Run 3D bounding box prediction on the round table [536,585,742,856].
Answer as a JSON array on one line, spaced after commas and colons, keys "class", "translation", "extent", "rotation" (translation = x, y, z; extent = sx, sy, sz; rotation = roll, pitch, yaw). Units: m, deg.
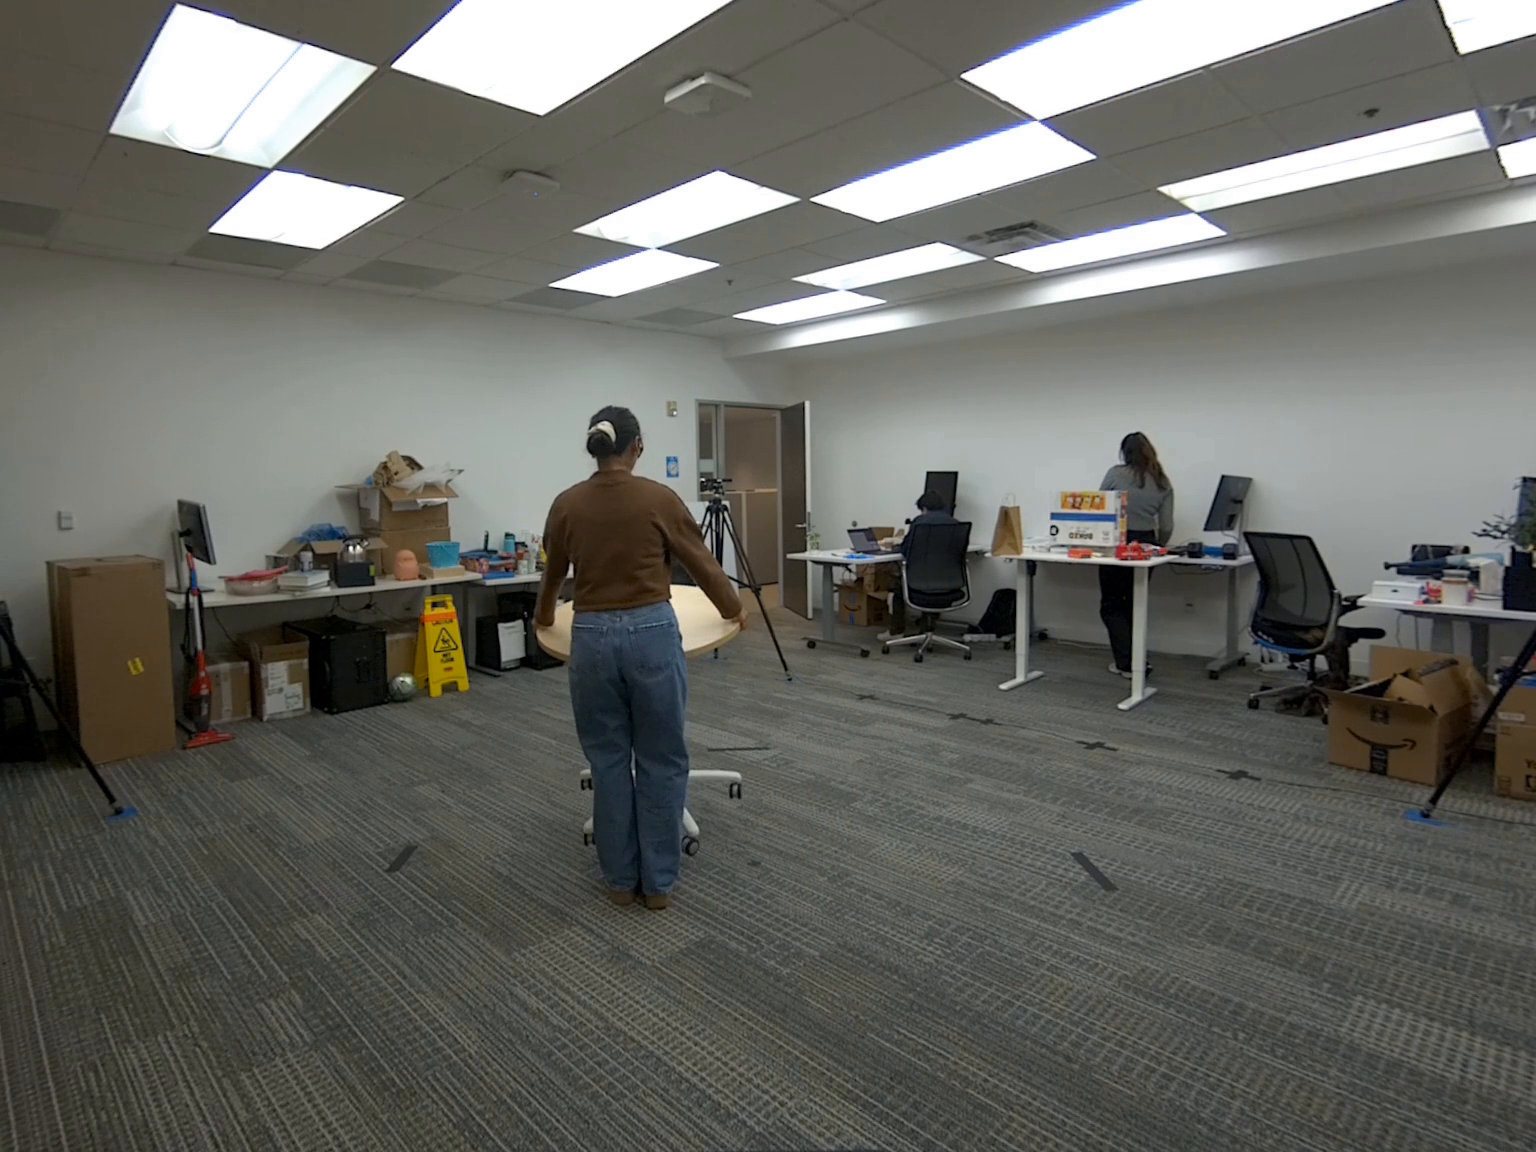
[{"class": "round table", "translation": [-0.467, 0.537, 3.316], "extent": [0.785, 0.776, 0.796], "rotation": [-3, 15, -1]}]
